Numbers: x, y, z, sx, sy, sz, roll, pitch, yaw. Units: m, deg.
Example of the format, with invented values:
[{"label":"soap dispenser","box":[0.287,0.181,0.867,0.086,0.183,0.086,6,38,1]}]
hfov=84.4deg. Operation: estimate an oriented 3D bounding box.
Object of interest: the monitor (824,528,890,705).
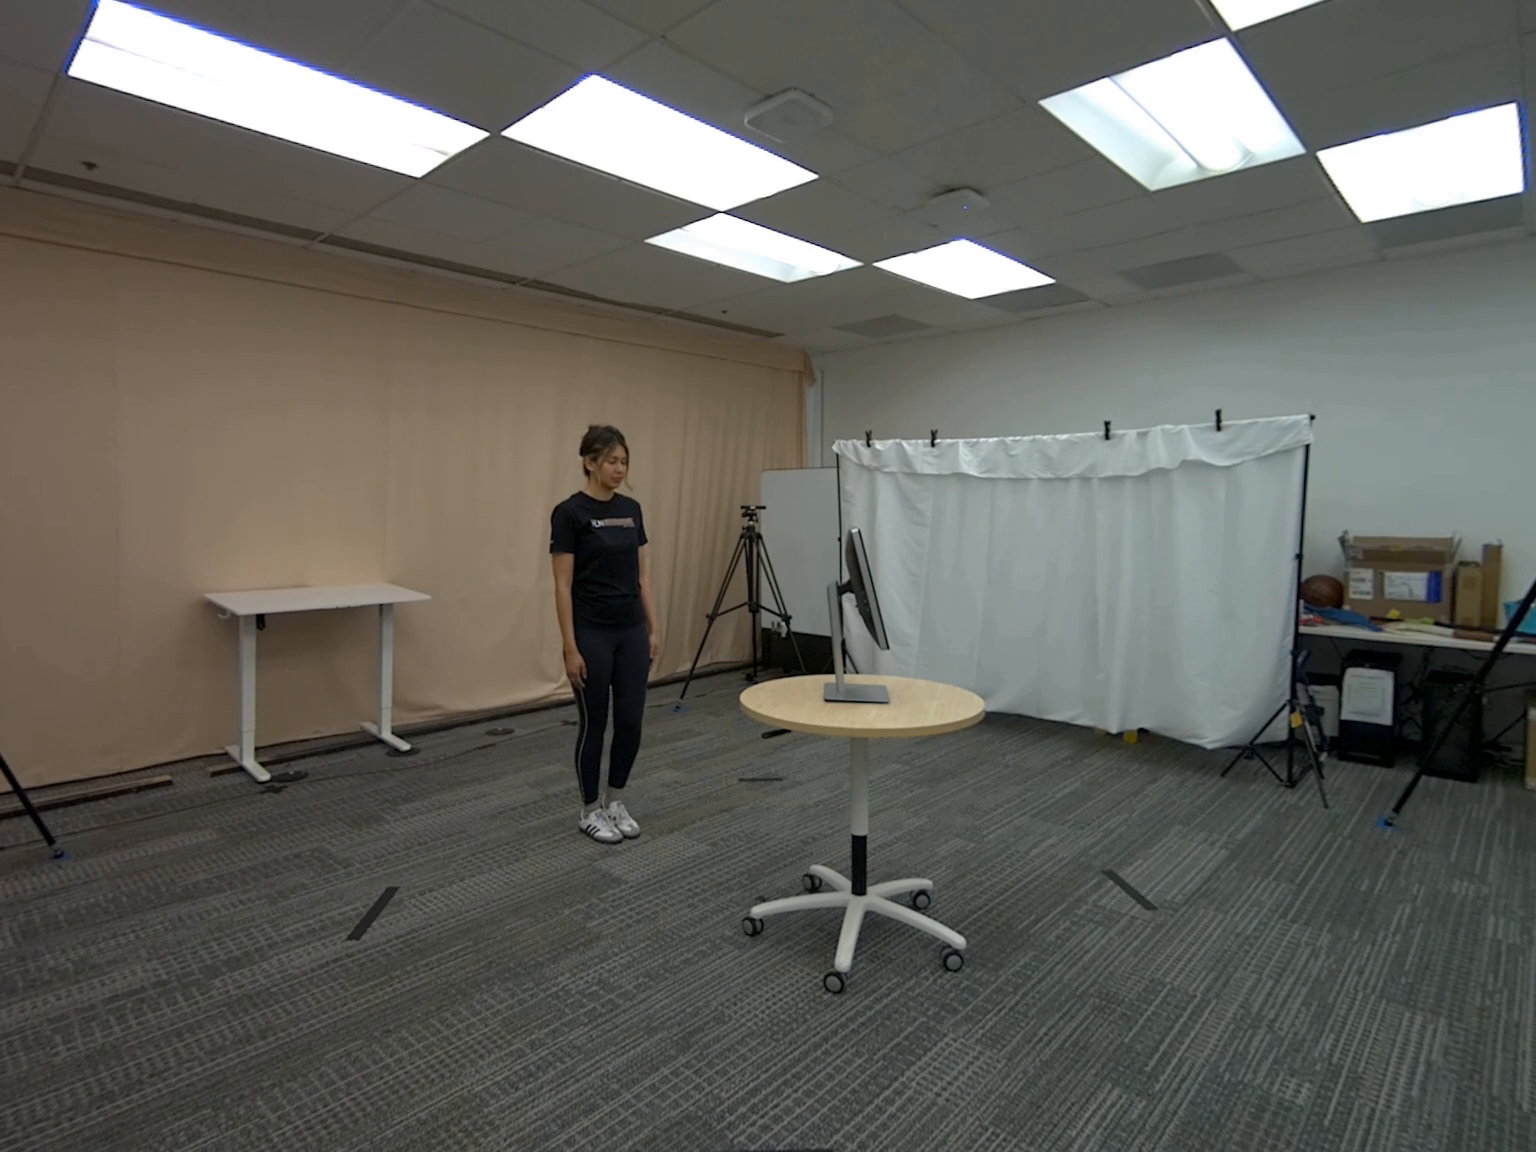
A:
[{"label":"monitor","box":[0.286,0.123,2.723,0.188,0.522,0.537,0,3,4]}]
